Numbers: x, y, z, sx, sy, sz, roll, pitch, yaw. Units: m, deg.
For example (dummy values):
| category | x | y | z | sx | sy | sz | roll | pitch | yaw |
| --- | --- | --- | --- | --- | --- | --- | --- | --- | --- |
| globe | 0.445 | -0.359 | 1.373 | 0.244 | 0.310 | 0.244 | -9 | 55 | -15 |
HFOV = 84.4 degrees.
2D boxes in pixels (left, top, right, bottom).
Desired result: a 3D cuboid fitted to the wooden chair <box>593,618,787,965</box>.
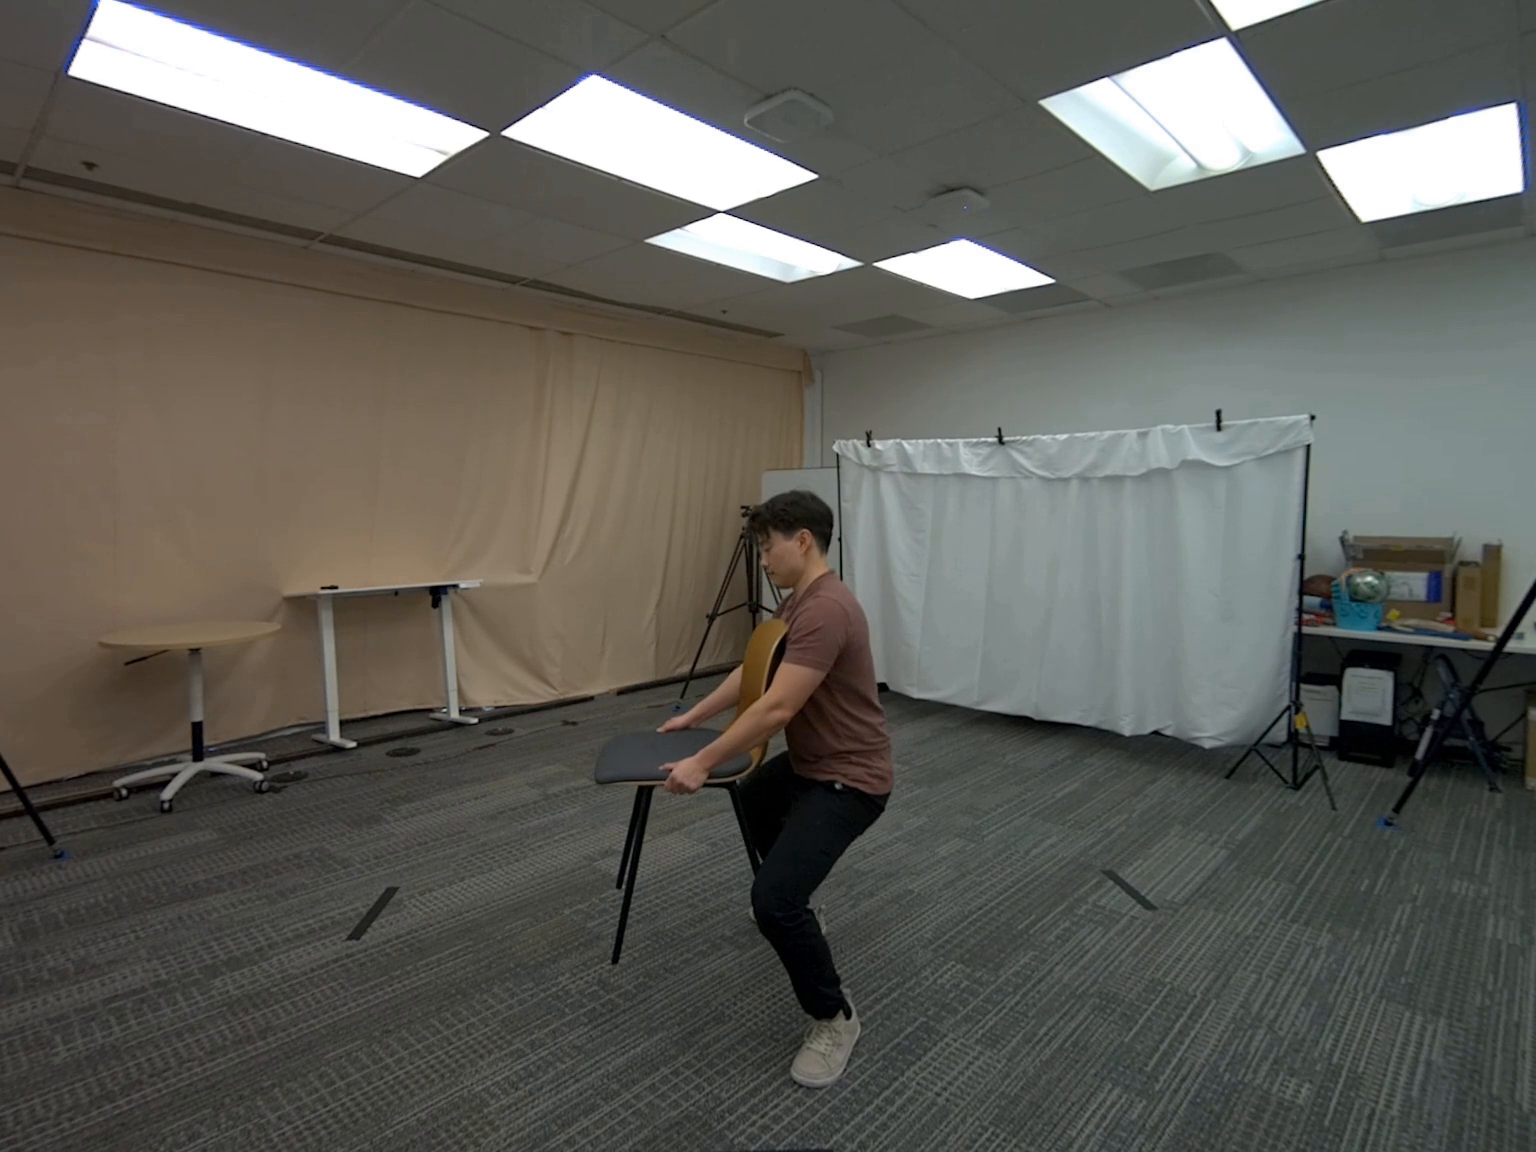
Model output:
| category | x | y | z | sx | sy | sz | roll | pitch | yaw |
| --- | --- | --- | --- | --- | --- | --- | --- | --- | --- |
| wooden chair | -0.230 | 0.557 | 2.382 | 0.519 | 0.875 | 0.483 | 3 | 4 | -7 |
